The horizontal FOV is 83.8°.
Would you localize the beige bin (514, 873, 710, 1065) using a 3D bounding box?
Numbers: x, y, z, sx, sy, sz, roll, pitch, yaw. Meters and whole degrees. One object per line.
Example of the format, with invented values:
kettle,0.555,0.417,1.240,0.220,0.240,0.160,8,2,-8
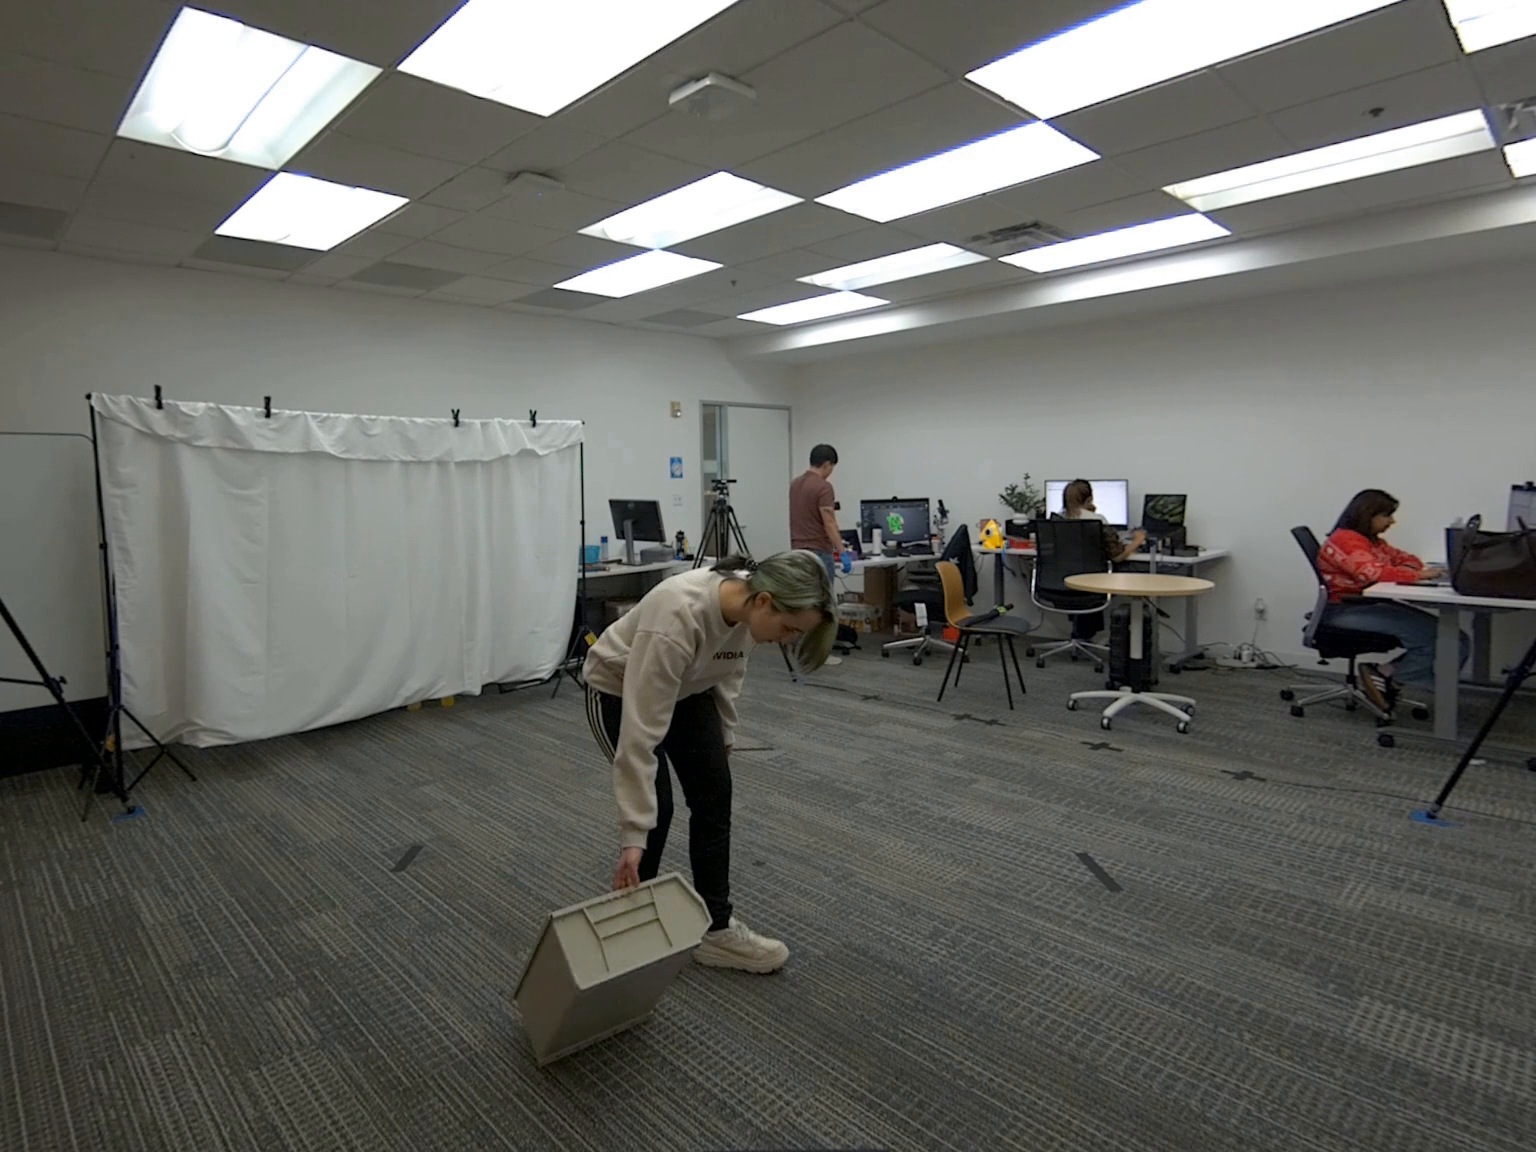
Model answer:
beige bin,-0.376,0.961,2.087,0.368,0.417,0.196,-6,46,-37
